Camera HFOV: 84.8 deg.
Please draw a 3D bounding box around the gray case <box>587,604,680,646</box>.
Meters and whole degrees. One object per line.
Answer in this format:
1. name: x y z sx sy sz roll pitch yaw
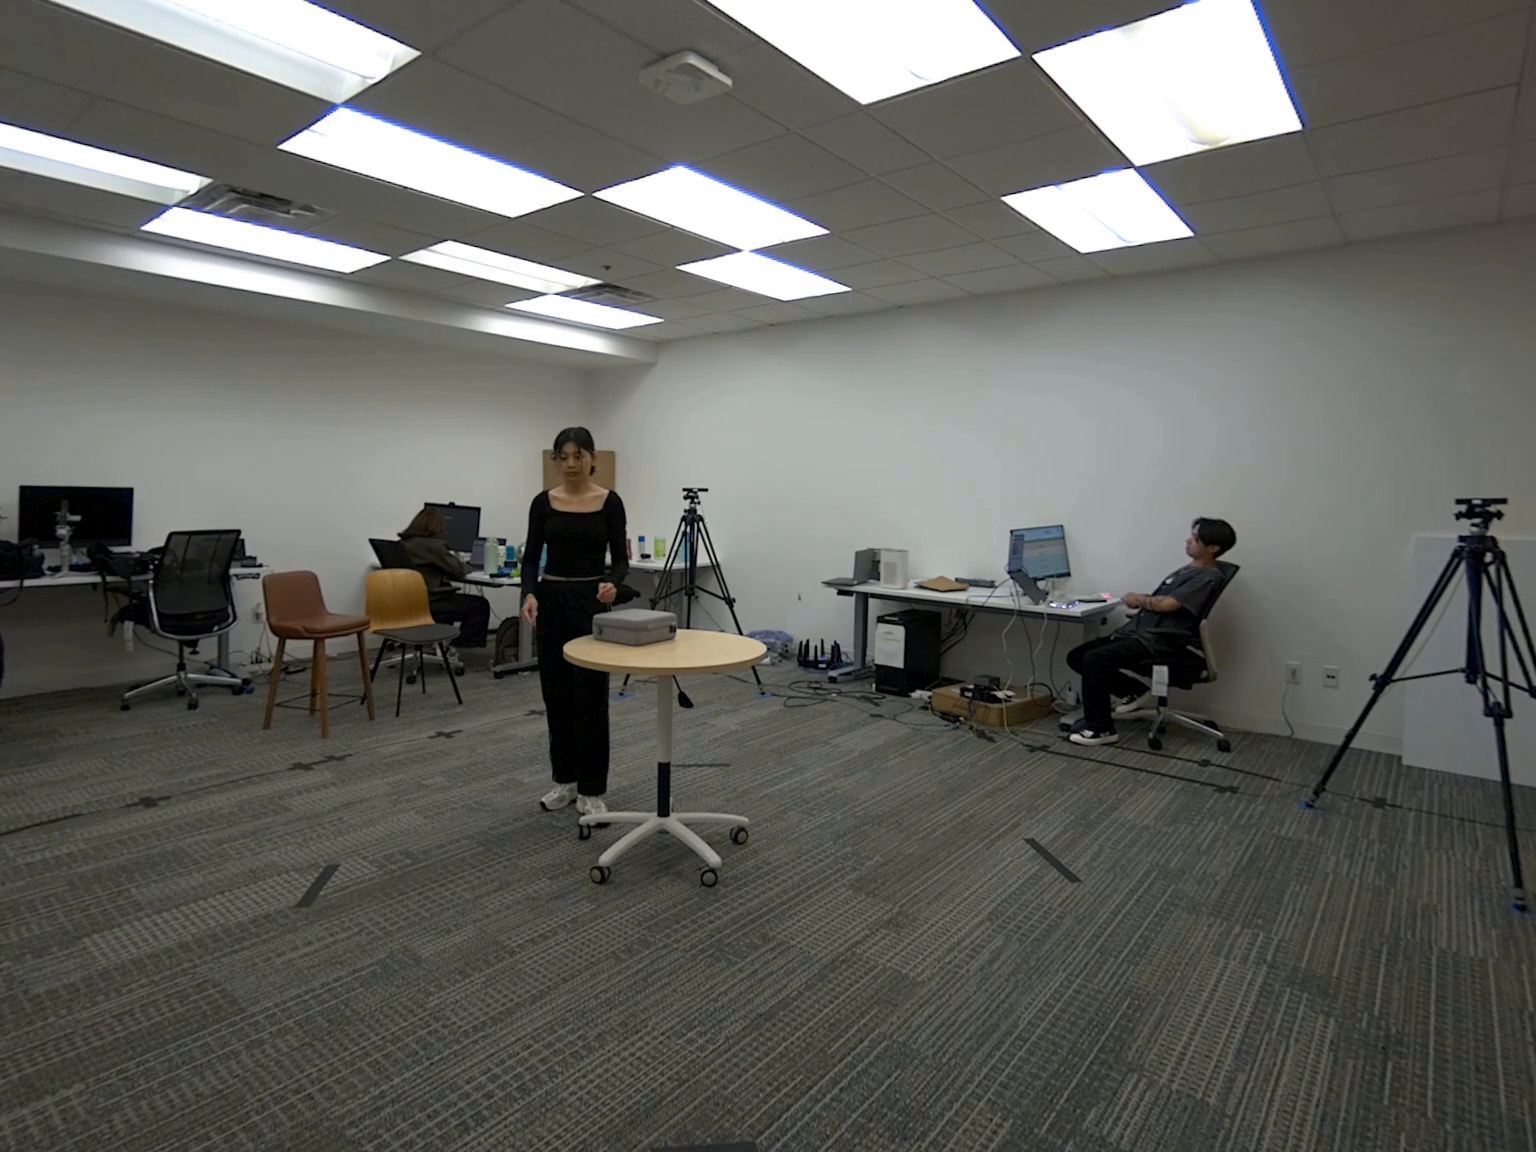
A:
1. gray case: -0.540 0.188 3.356 0.269 0.104 0.250 4 7 36
